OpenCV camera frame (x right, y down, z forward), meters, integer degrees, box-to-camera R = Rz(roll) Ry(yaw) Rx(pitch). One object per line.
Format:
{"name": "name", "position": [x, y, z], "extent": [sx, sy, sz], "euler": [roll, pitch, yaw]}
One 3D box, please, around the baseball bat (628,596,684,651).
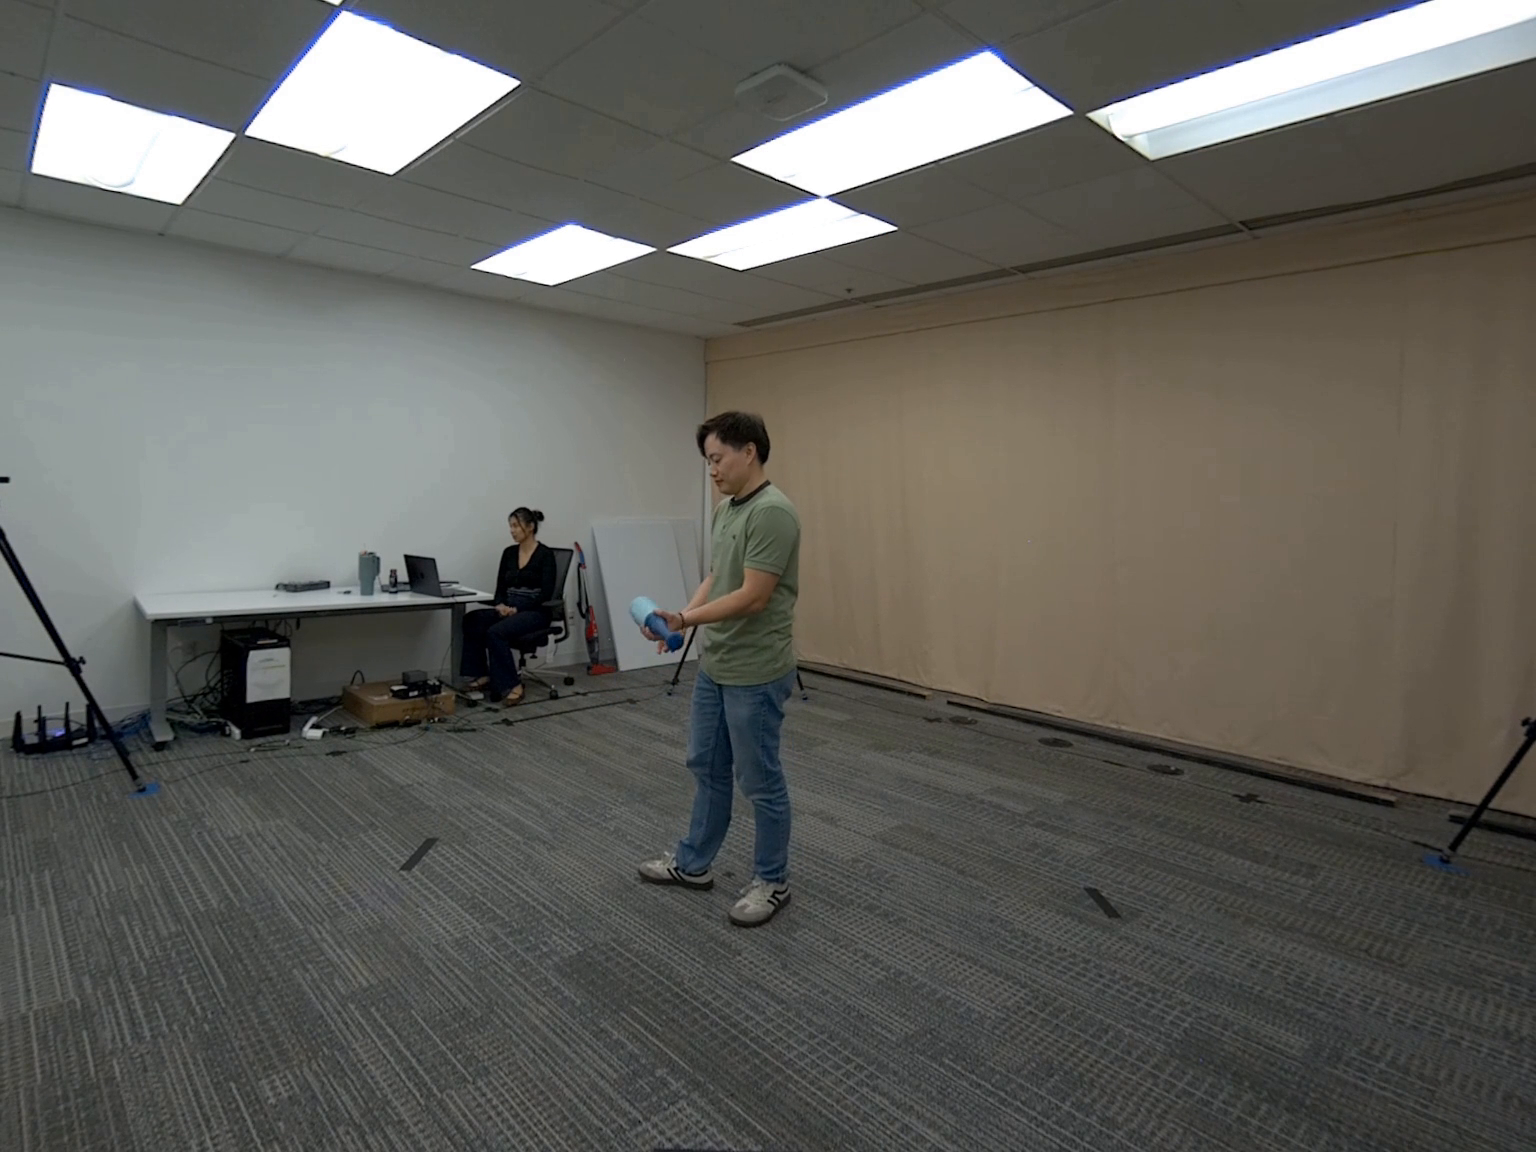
{"name": "baseball bat", "position": [-0.337, 0.144, 2.483], "extent": [0.088, 0.088, 0.551], "euler": [0, 7, -15]}
